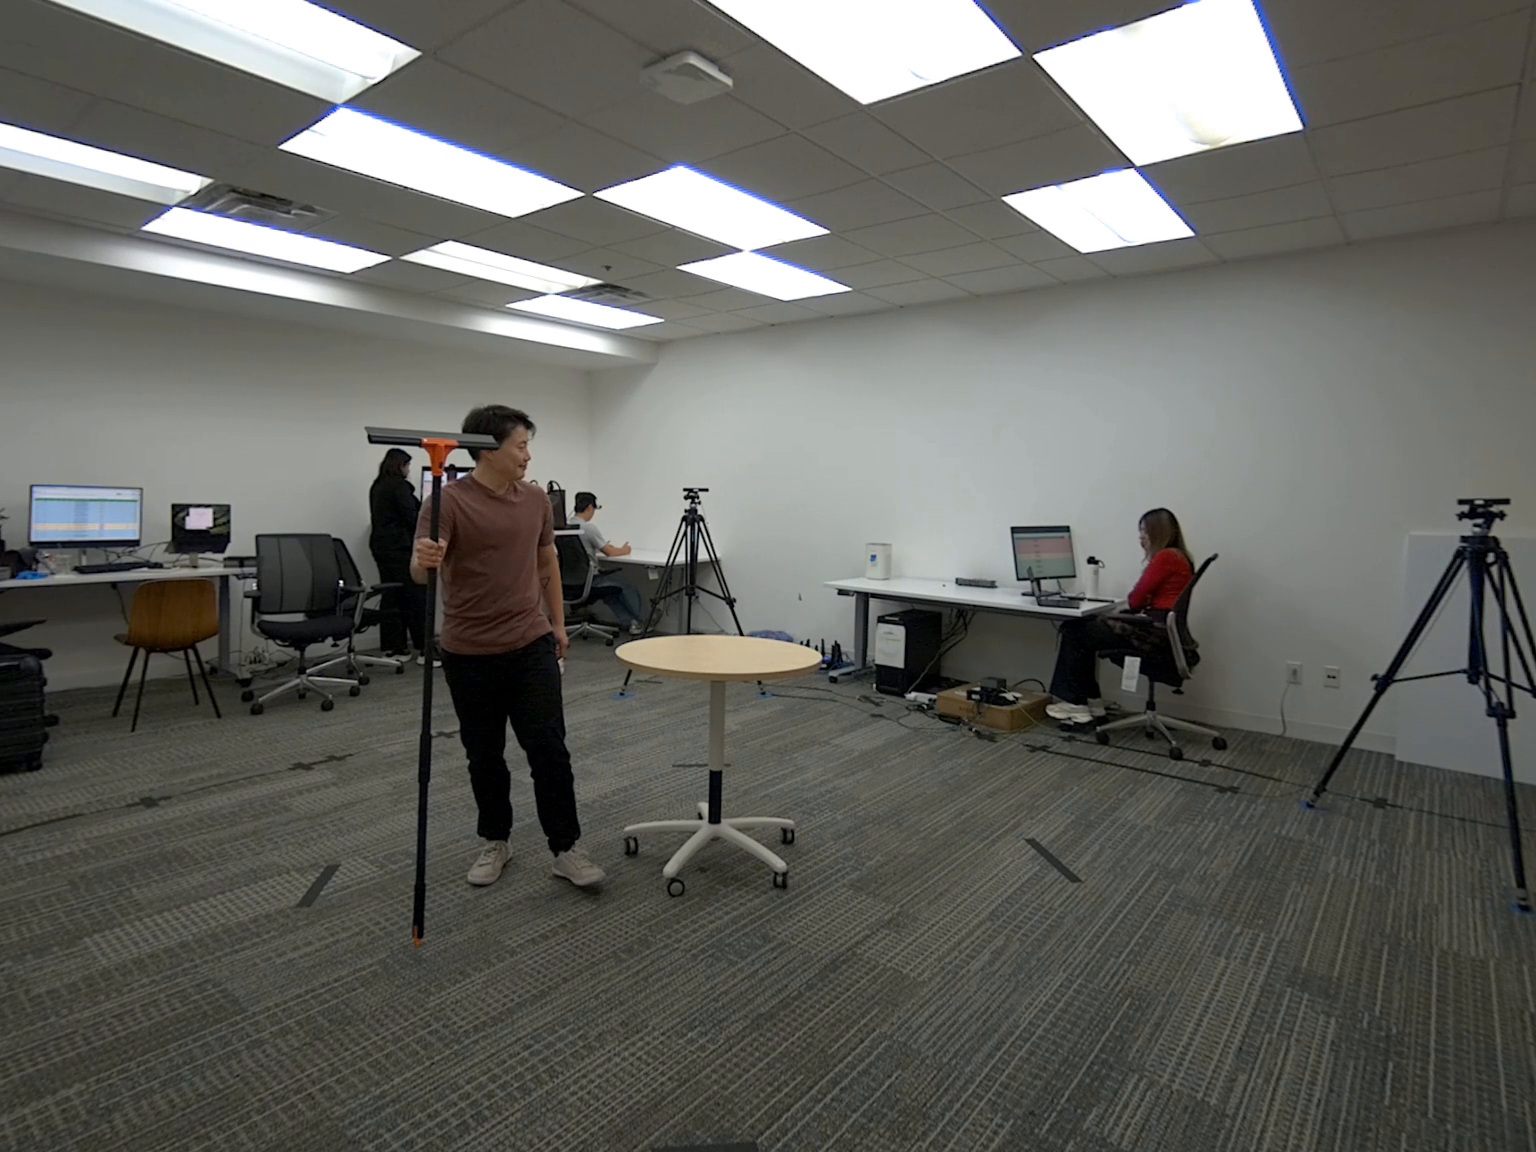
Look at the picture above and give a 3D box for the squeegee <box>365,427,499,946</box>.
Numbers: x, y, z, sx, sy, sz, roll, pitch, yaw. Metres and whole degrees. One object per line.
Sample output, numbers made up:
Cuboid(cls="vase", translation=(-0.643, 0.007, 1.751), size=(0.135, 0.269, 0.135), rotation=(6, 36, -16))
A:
Cuboid(cls="squeegee", translation=(-1.005, 0.342, 2.494), size=(0.054, 1.530, 0.426), rotation=(7, 6, 30))
